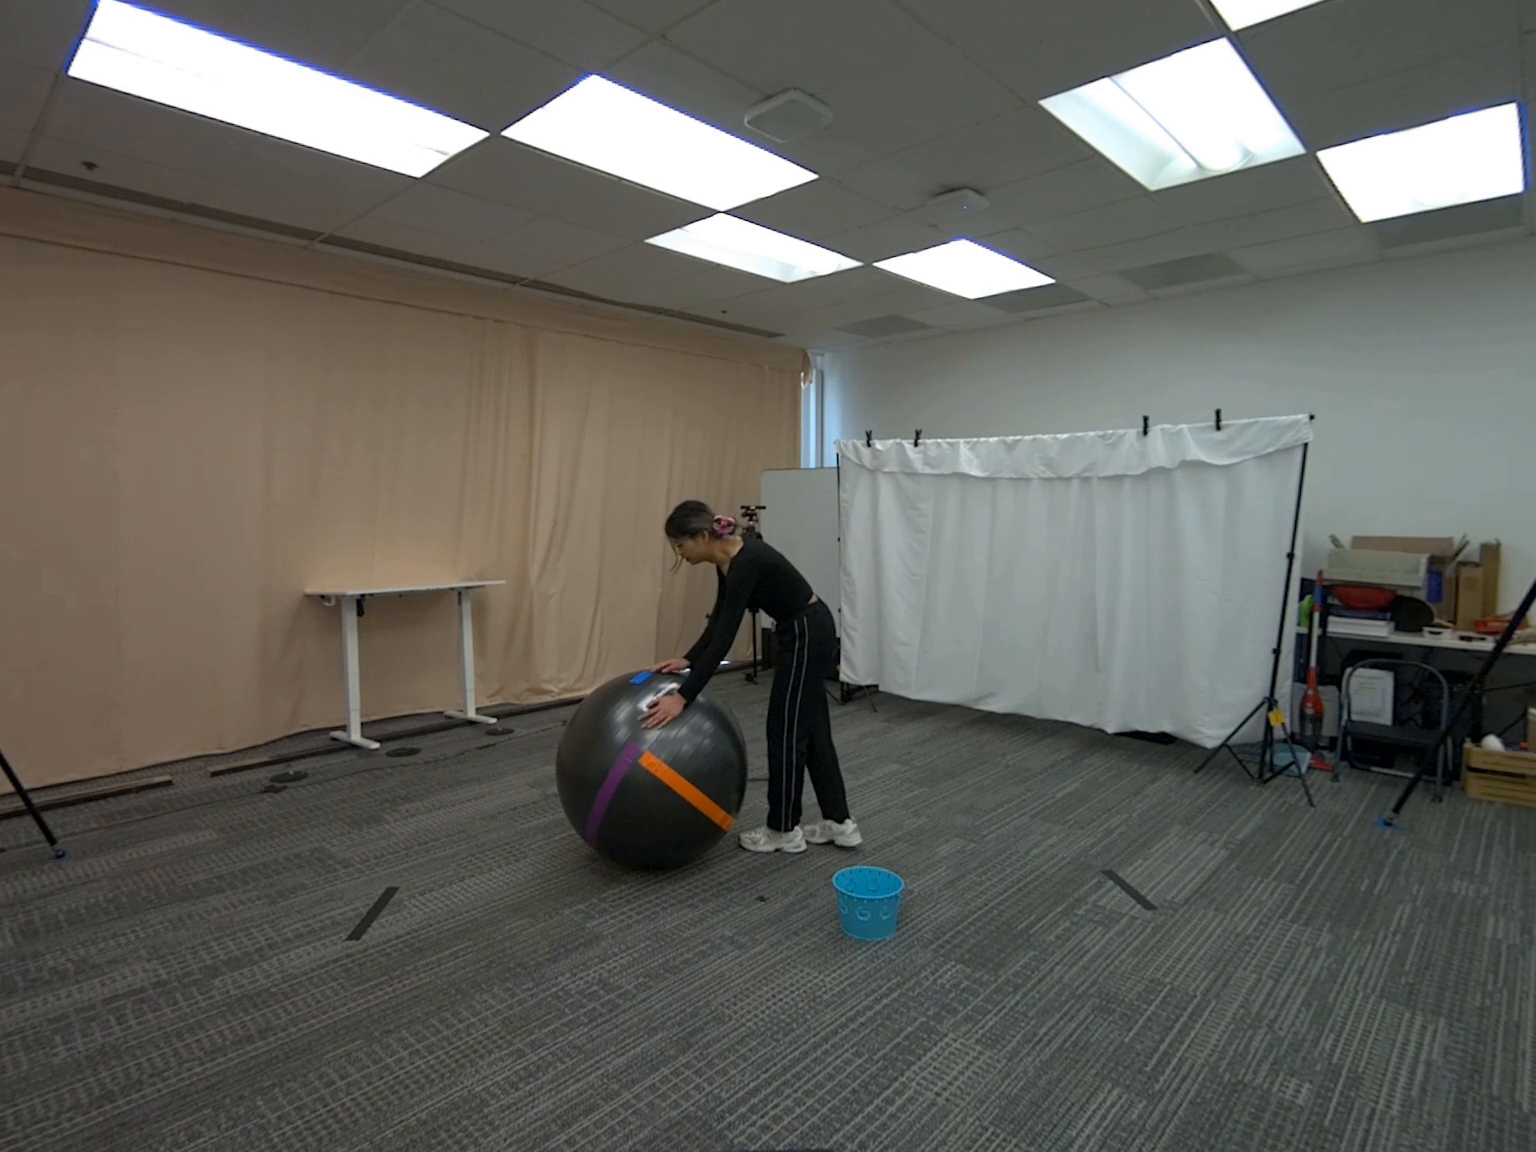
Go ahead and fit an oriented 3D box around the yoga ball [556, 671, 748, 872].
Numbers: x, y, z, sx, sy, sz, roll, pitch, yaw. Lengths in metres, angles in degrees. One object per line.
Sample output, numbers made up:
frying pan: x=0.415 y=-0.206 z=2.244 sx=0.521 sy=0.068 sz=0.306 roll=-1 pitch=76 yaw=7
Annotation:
yoga ball: x=-0.453 y=0.751 z=3.324 sx=0.757 sy=0.756 sz=0.760 roll=0 pitch=4 yaw=-2
